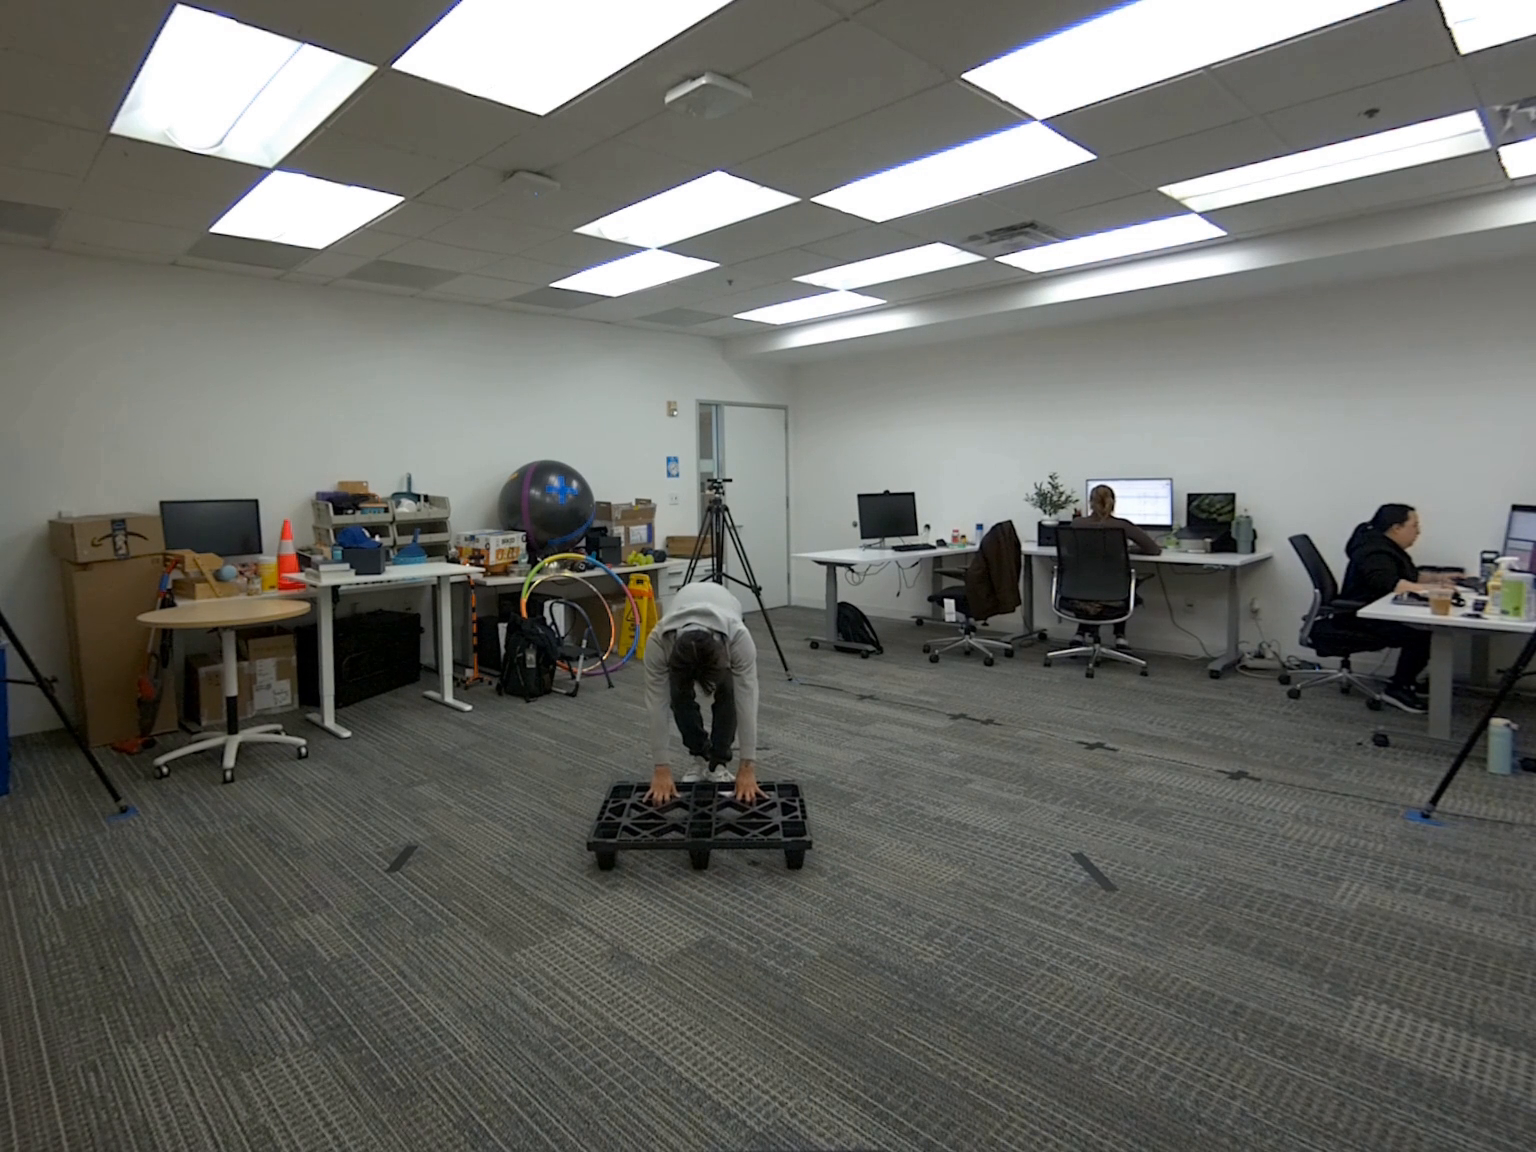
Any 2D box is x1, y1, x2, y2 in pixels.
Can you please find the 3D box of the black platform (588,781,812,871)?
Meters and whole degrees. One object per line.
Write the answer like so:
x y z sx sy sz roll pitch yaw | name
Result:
-0.250 0.955 3.294 0.806 0.143 0.607 -1 5 0 | black platform
